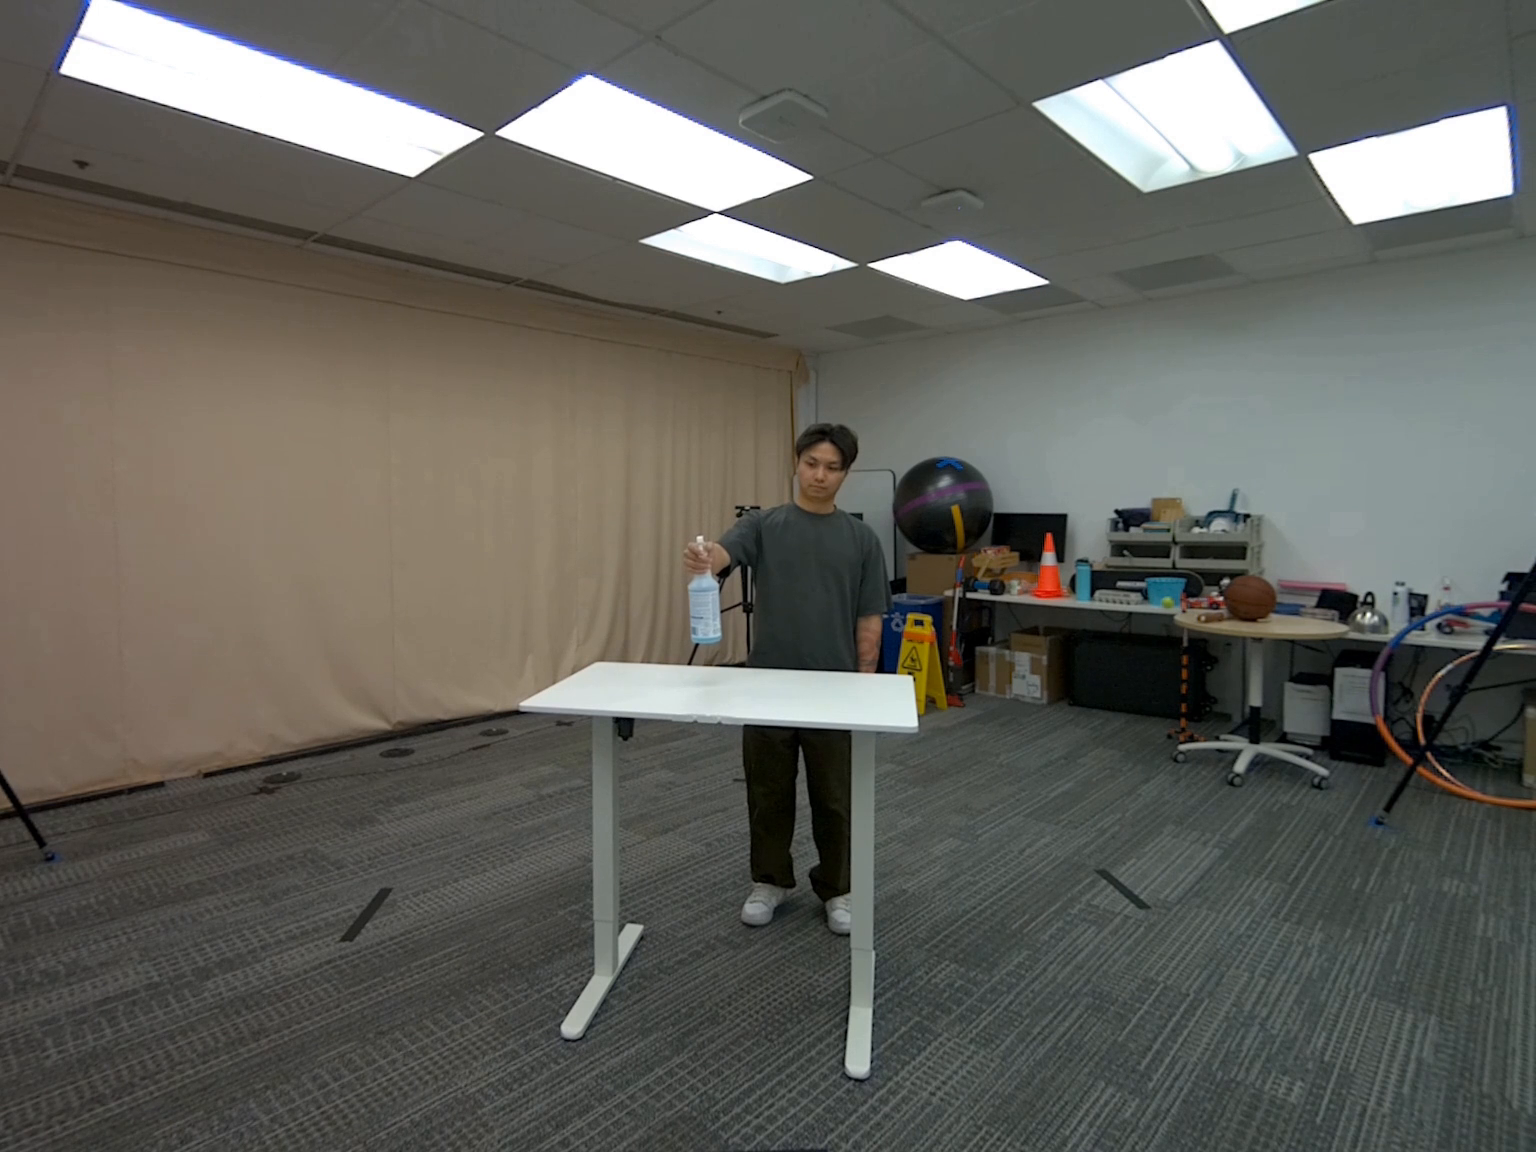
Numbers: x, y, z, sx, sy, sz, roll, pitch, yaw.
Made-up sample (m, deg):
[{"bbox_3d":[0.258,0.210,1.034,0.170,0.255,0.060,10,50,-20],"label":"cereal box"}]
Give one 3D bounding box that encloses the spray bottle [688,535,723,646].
[{"bbox_3d":[-0.178,0.034,2.347,0.089,0.296,0.088,0,5,26],"label":"spray bottle"}]
